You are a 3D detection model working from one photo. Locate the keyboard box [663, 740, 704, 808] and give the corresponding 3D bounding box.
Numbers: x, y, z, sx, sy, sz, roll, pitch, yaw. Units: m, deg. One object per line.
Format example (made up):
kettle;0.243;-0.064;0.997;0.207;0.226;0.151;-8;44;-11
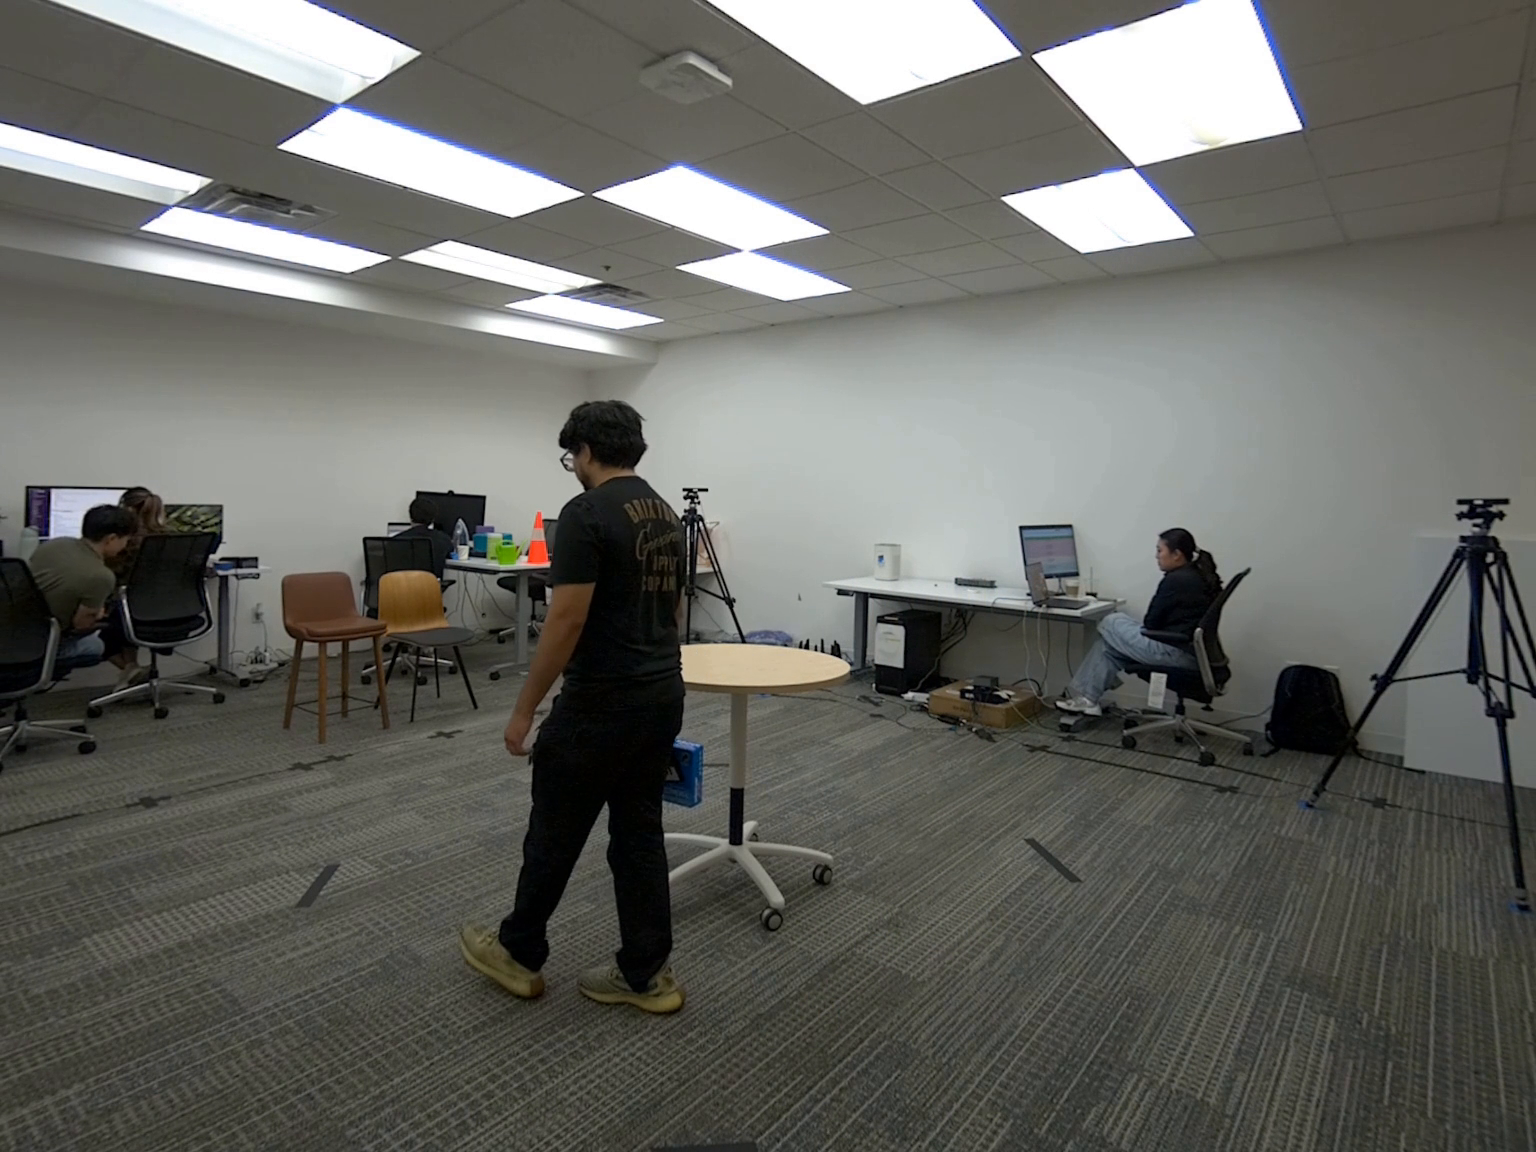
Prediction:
keyboard box;-0.408;0.558;2.565;0.449;0.175;0.057;5;5;28
